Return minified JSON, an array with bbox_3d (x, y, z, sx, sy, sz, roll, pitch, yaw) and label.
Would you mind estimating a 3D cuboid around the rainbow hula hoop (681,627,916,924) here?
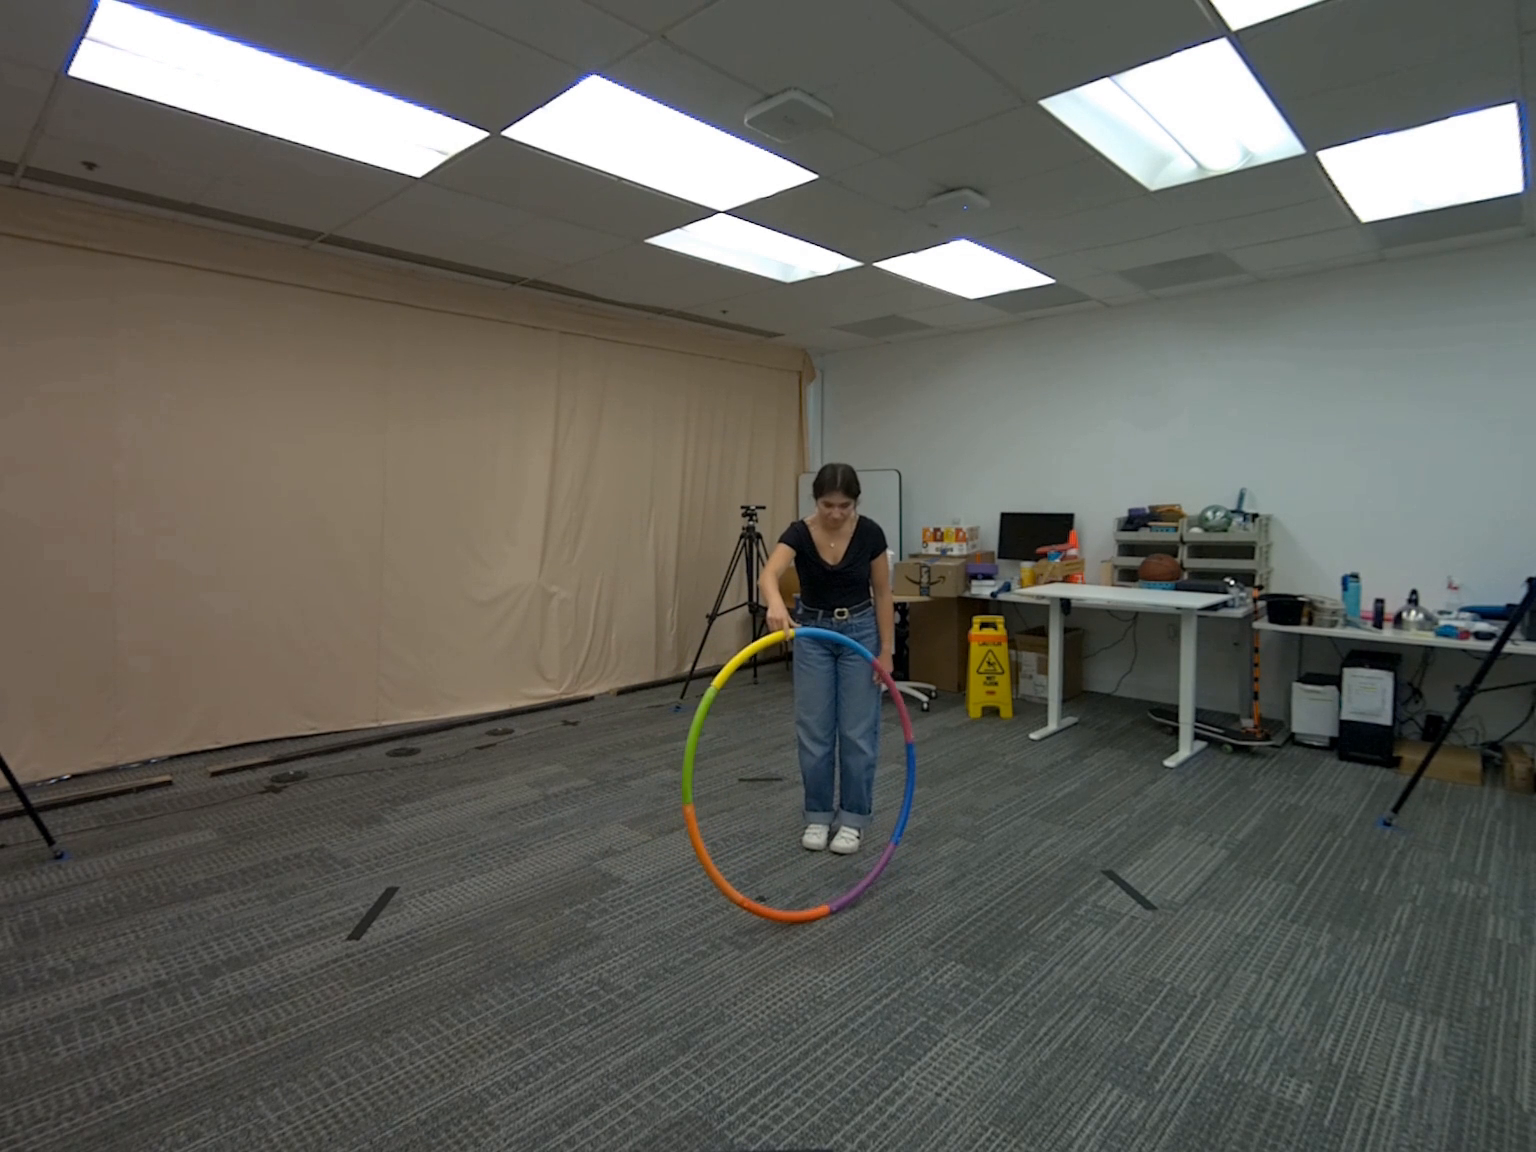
[{"bbox_3d":[0.146,0.676,2.882,0.951,0.982,0.036,-3,-5,-32],"label":"rainbow hula hoop"}]
